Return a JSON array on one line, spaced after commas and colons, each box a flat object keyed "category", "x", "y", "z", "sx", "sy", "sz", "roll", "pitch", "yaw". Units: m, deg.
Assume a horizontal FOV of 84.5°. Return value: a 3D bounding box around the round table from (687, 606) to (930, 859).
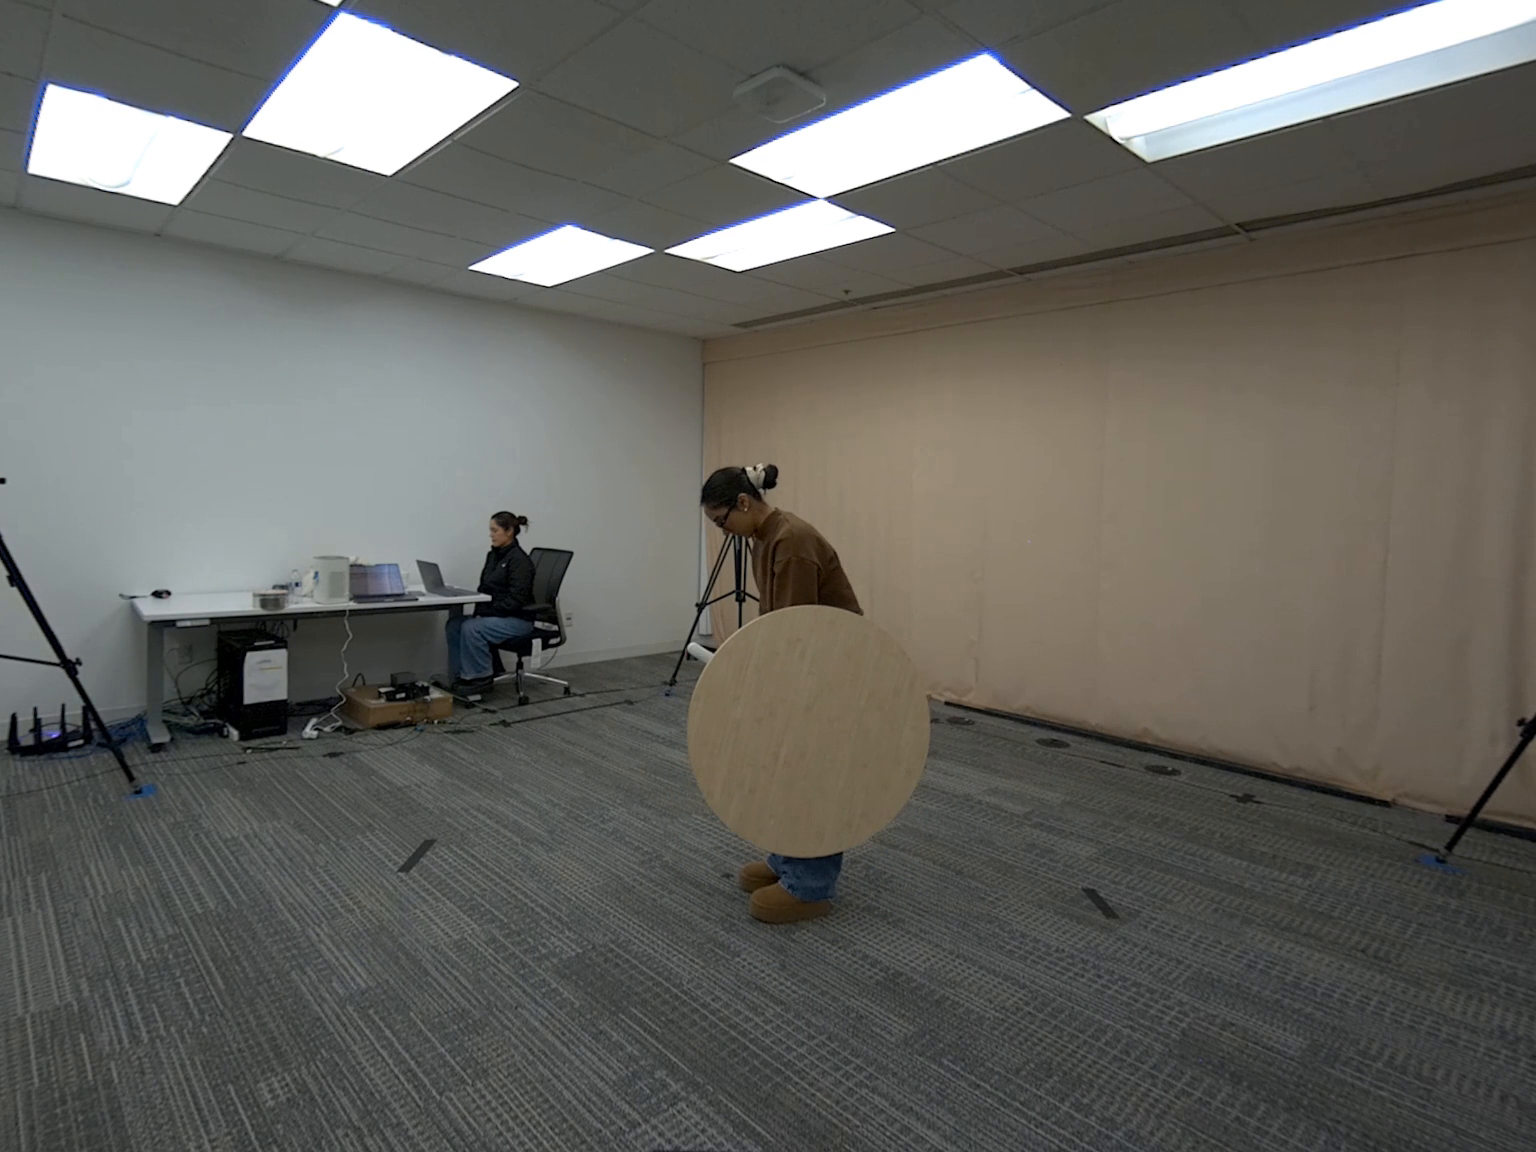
[{"category": "round table", "x": 0.045, "y": 0.475, "z": 2.964, "sx": 0.757, "sy": 0.764, "sz": 0.800, "roll": 1, "pitch": 0, "yaw": -11}]
